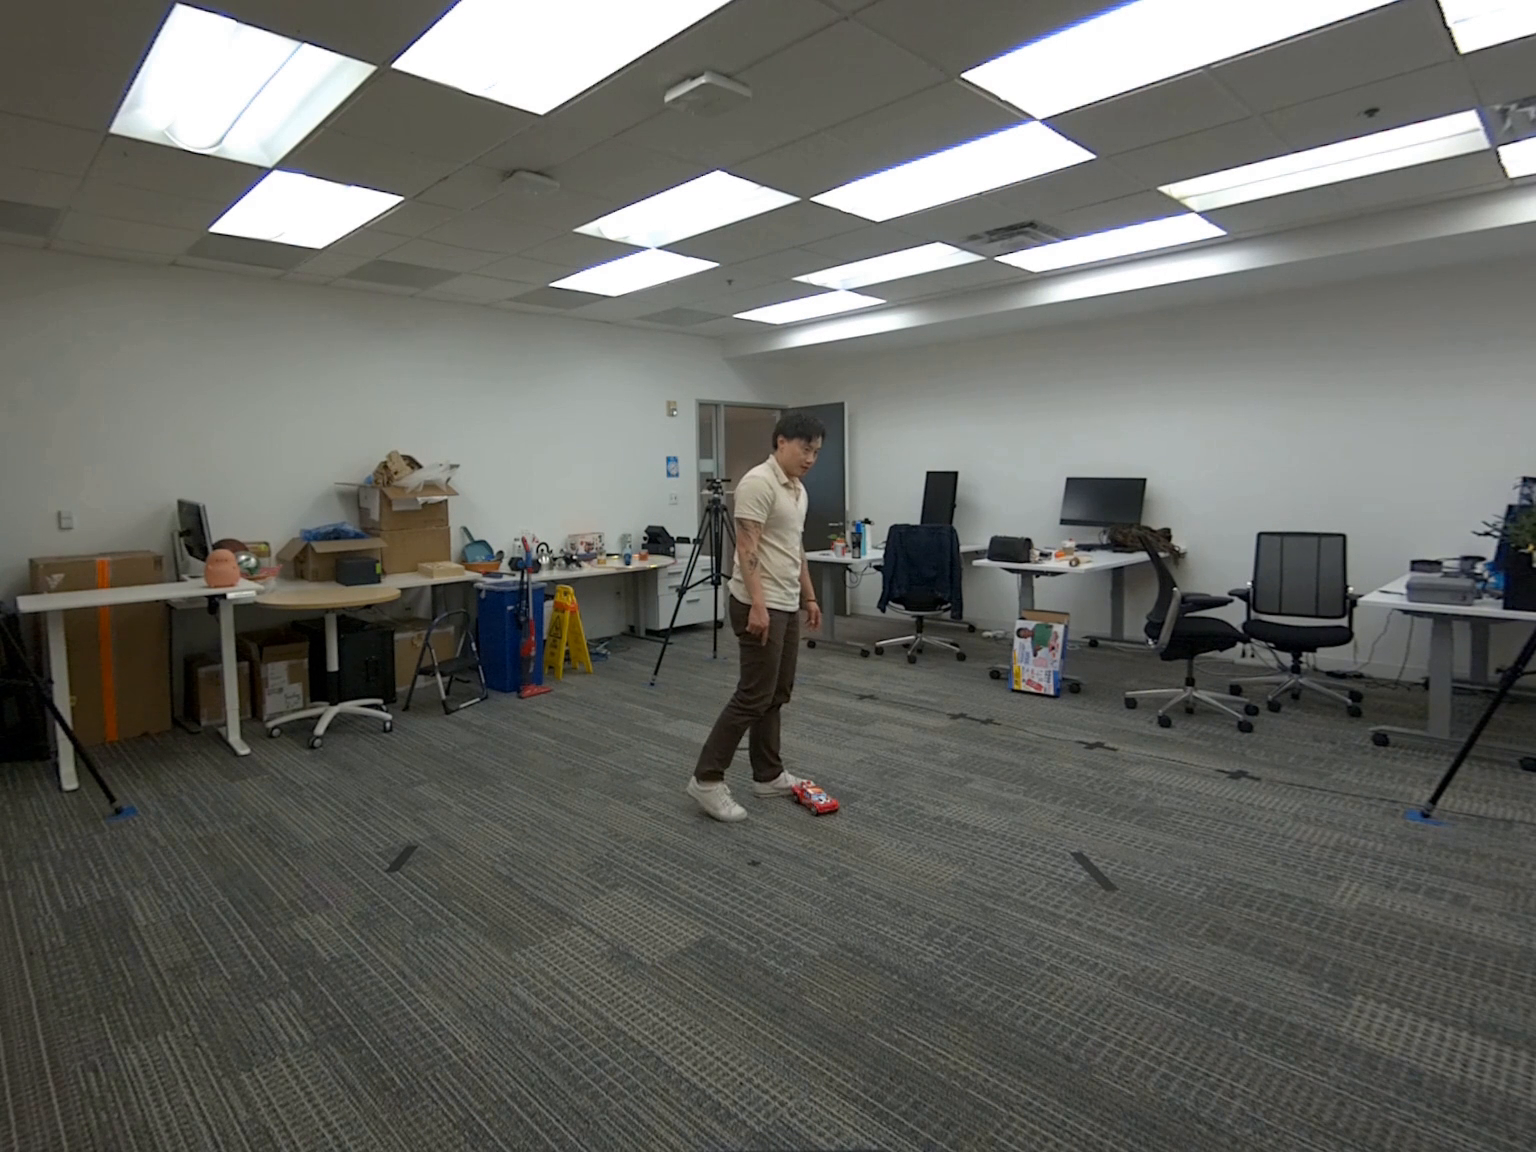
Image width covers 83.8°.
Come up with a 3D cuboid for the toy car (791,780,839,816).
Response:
[{"bbox_3d":[0.186,0.945,3.644,0.127,0.082,0.263,-3,17,-26],"label":"toy car"}]
